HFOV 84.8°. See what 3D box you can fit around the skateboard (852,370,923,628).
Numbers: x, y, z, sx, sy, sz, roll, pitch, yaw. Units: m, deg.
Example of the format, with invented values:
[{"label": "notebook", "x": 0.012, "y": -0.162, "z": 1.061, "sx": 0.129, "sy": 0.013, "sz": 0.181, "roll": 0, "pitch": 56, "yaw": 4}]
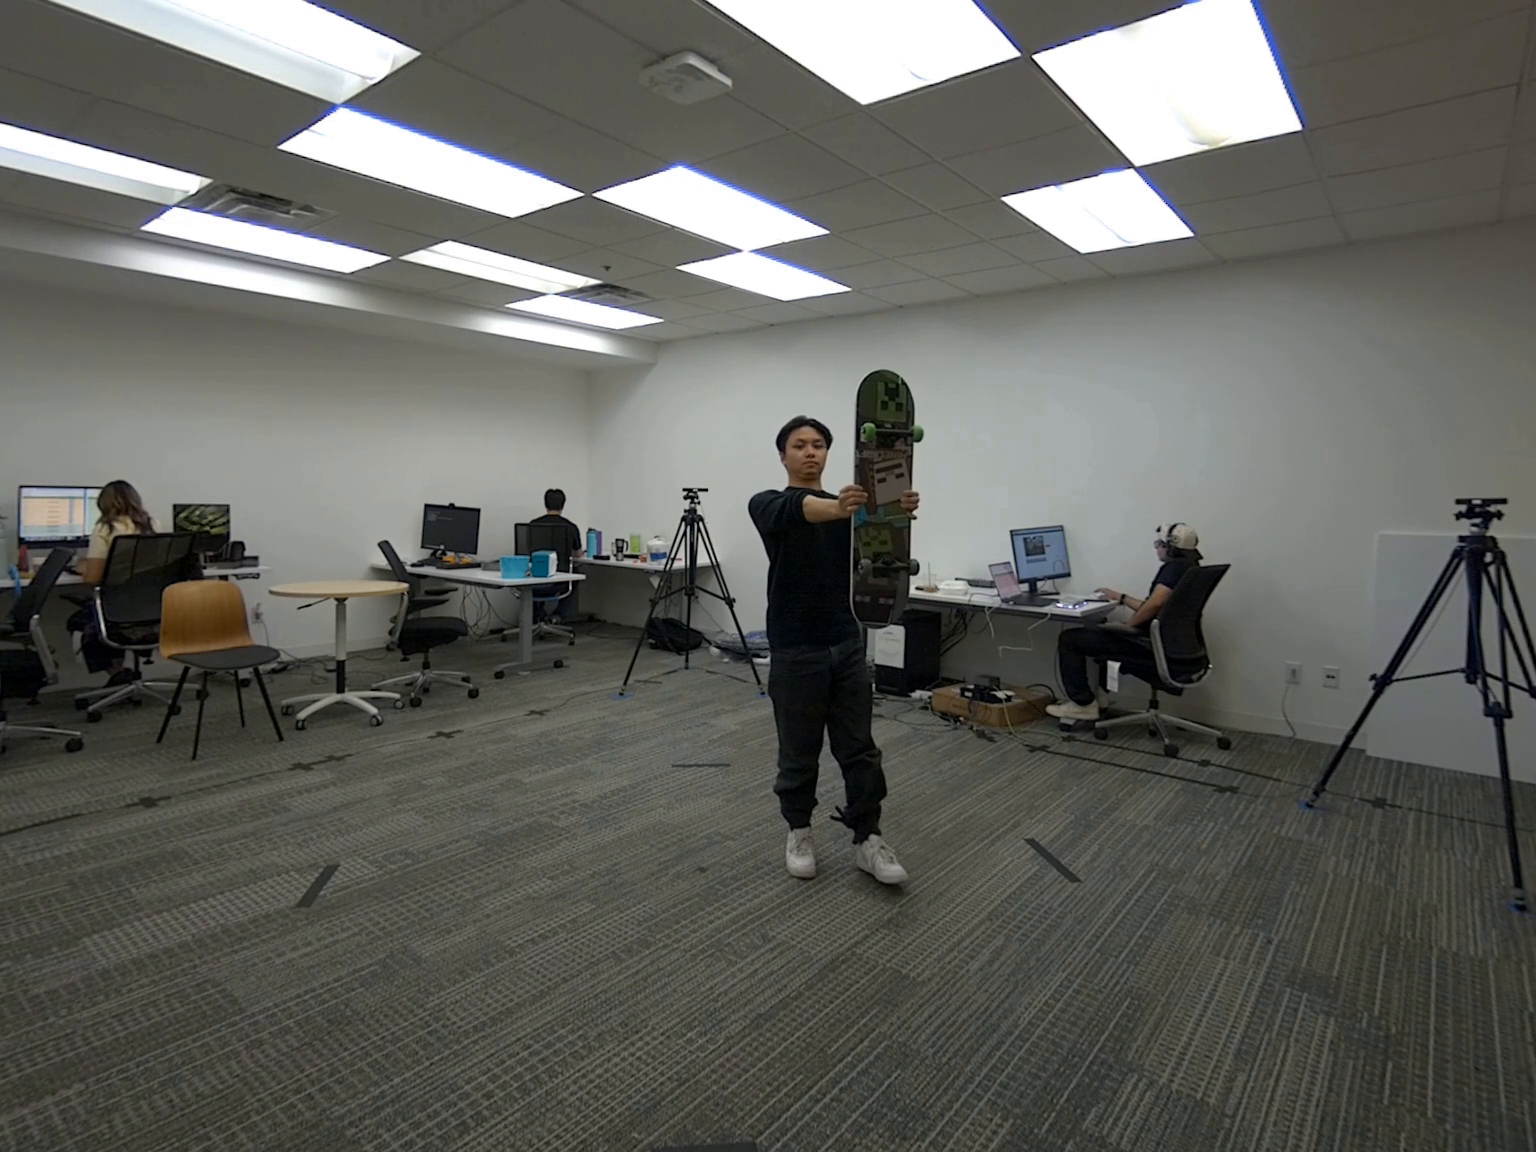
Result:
[{"label": "skateboard", "x": 0.351, "y": -0.229, "z": 2.547, "sx": 0.190, "sy": 0.783, "sz": 0.112, "roll": 0, "pitch": 3, "yaw": -16}]
